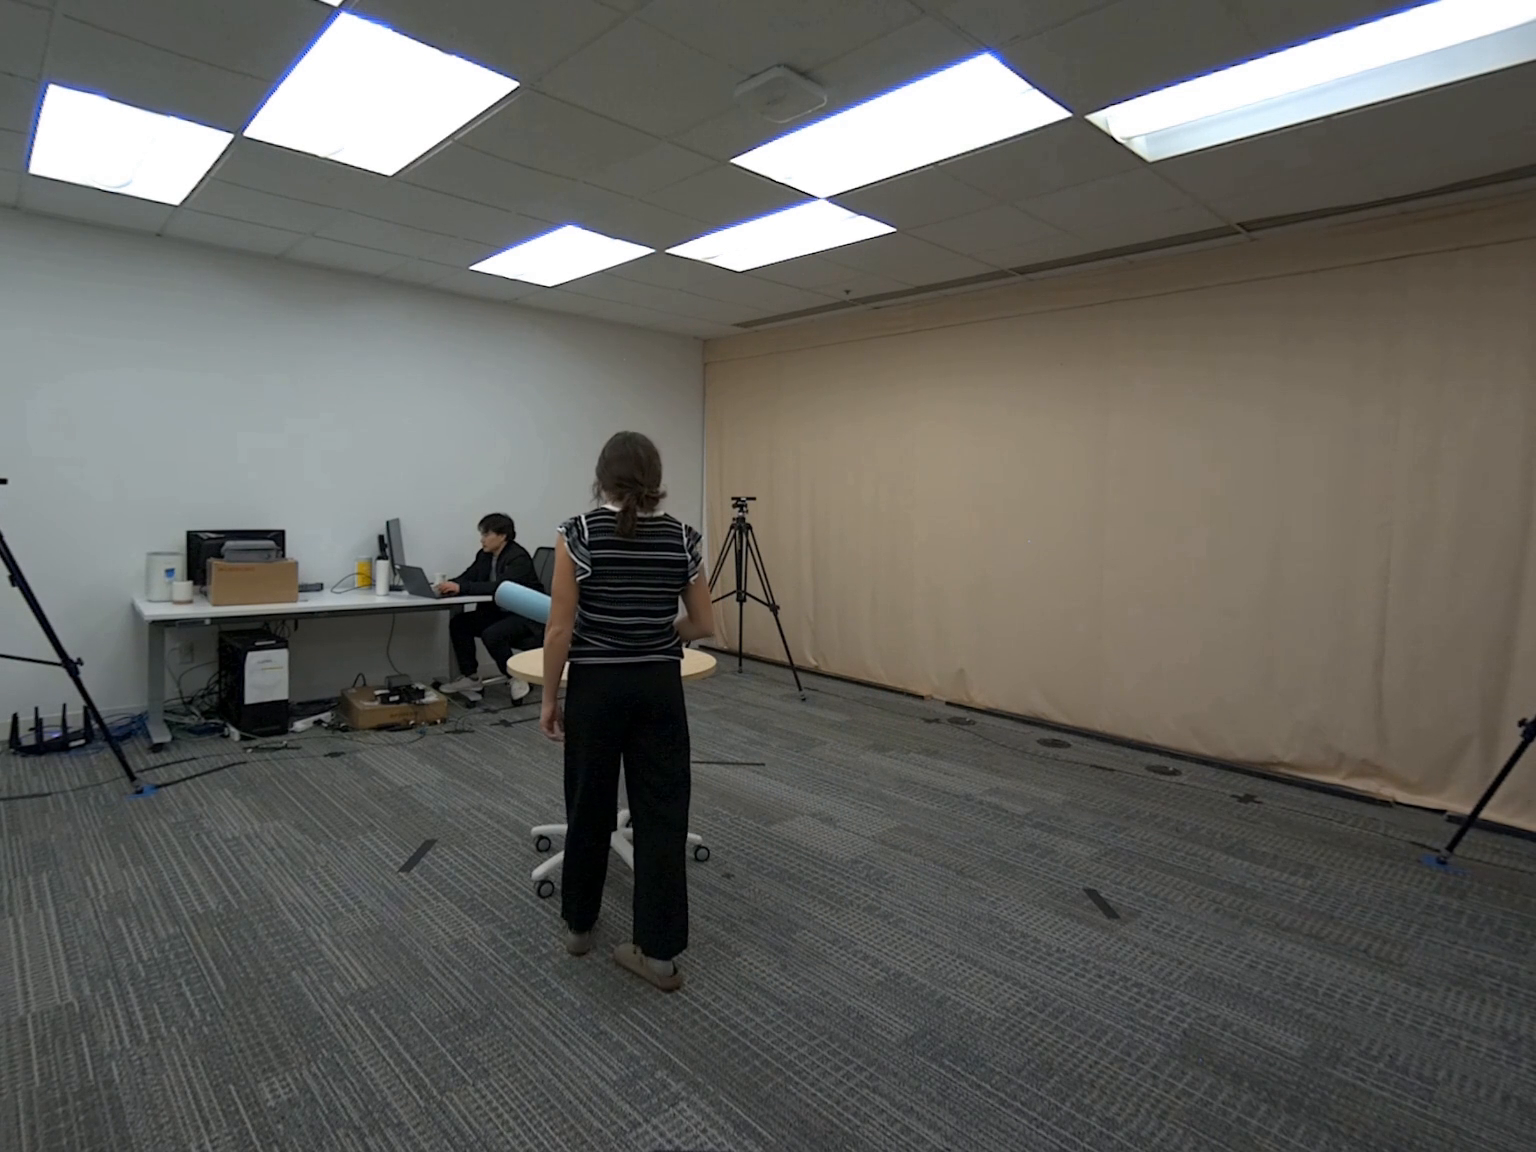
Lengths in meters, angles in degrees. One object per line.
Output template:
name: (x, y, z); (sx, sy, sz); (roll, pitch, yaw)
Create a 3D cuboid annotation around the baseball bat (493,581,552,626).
baseball bat: (-0.634, 0.161, 2.706); (0.549, 0.089, 0.088); (22, 8, 10)
